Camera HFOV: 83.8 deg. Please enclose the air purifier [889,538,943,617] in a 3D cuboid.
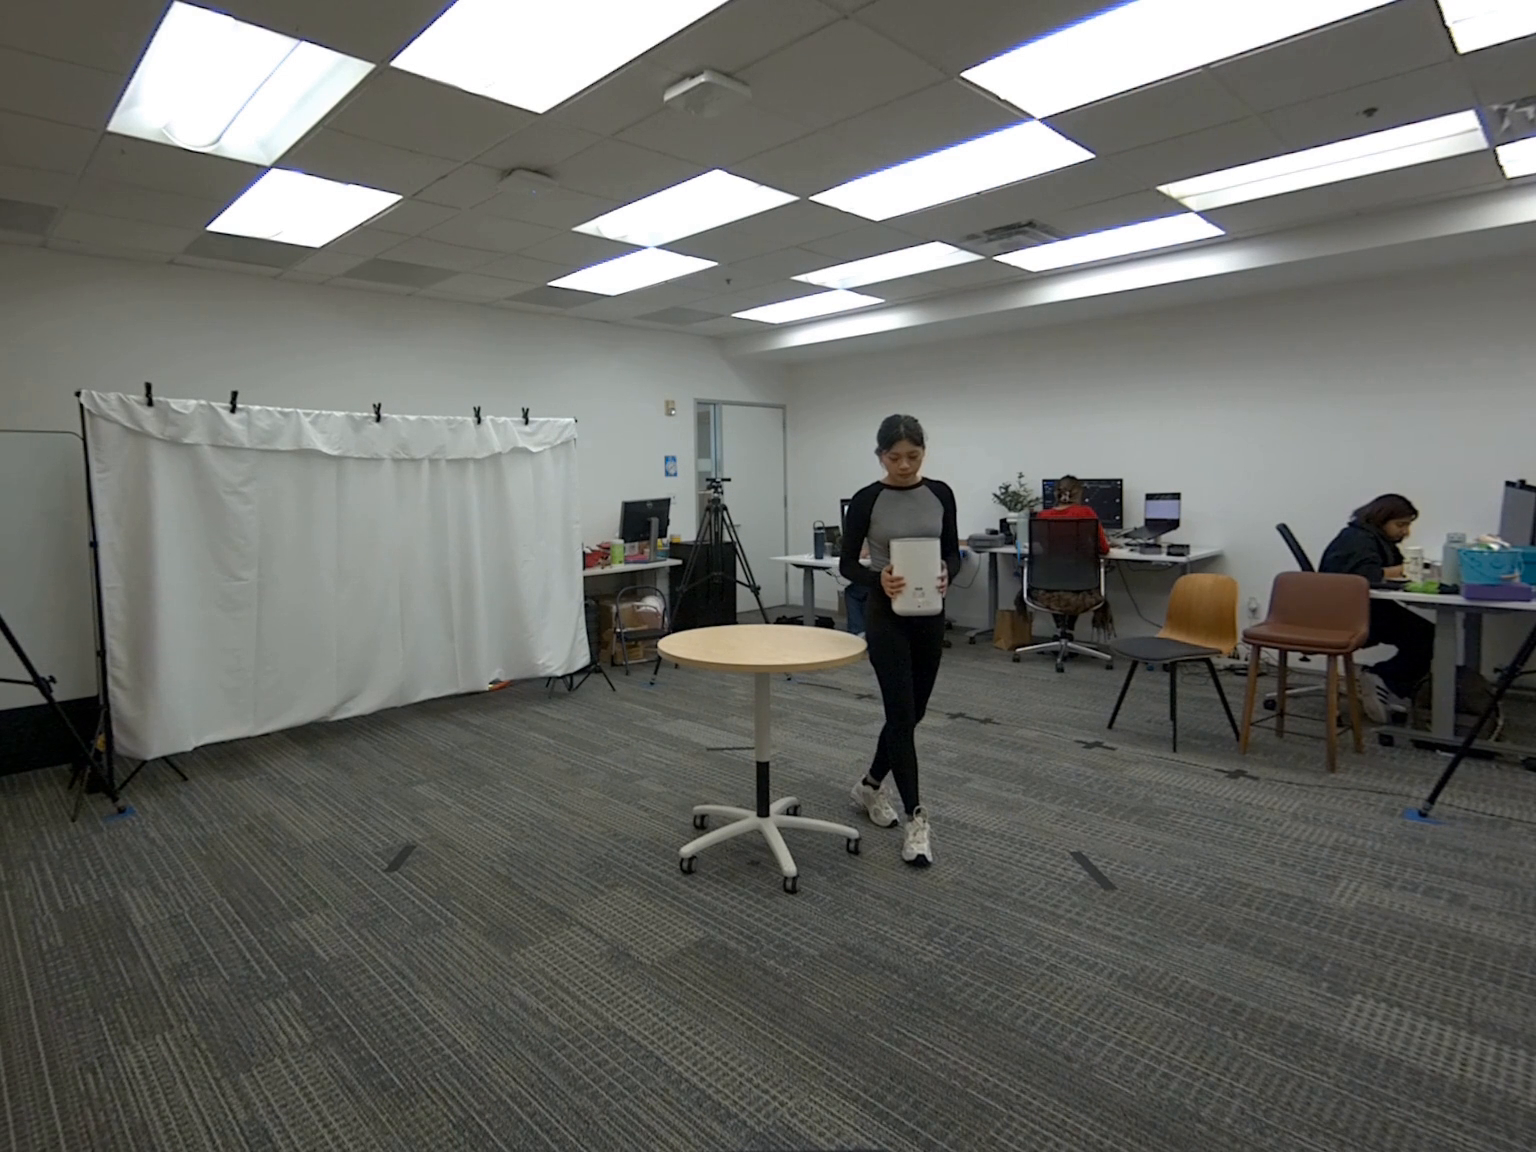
[{"bbox_3d":[0.525,0.003,3.031,0.172,0.265,0.171,-2,3,4],"label":"air purifier"}]
